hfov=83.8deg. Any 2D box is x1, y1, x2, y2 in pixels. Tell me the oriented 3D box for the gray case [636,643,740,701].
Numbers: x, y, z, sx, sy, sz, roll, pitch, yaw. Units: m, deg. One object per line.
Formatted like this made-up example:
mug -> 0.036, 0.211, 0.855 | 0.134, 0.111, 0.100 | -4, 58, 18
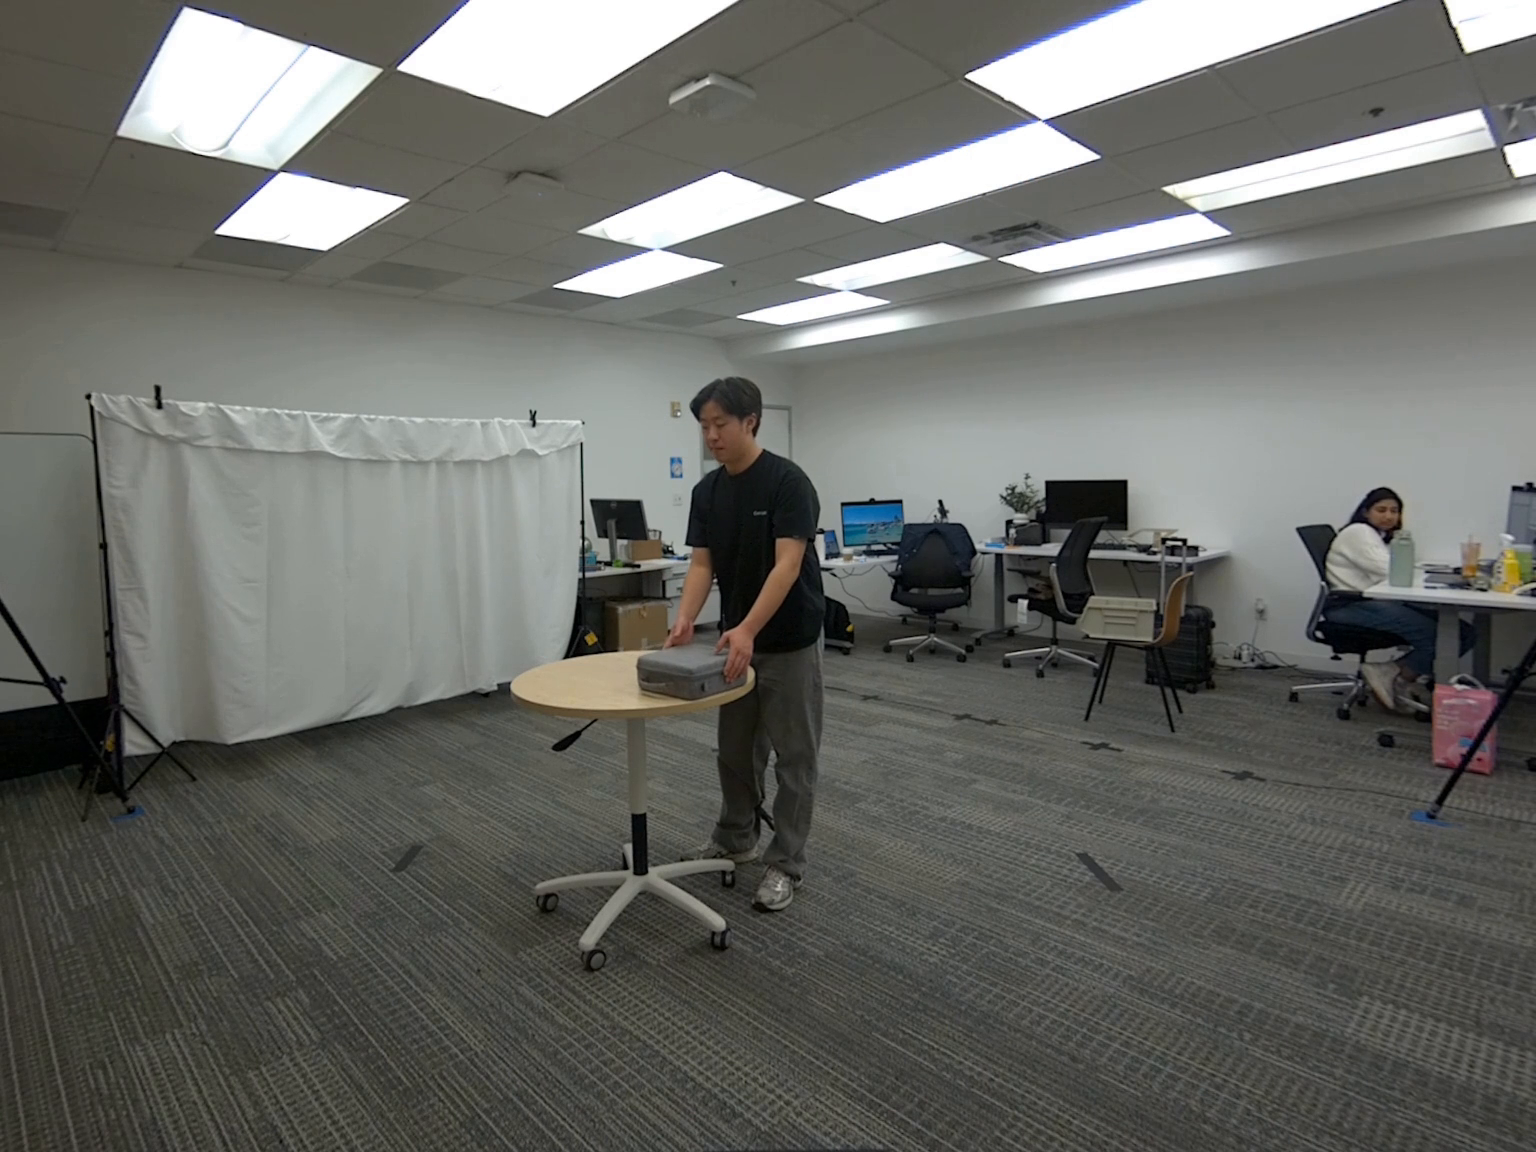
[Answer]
gray case -> -0.240, 0.286, 2.532 | 0.271, 0.102, 0.280 | 5, 10, 43
